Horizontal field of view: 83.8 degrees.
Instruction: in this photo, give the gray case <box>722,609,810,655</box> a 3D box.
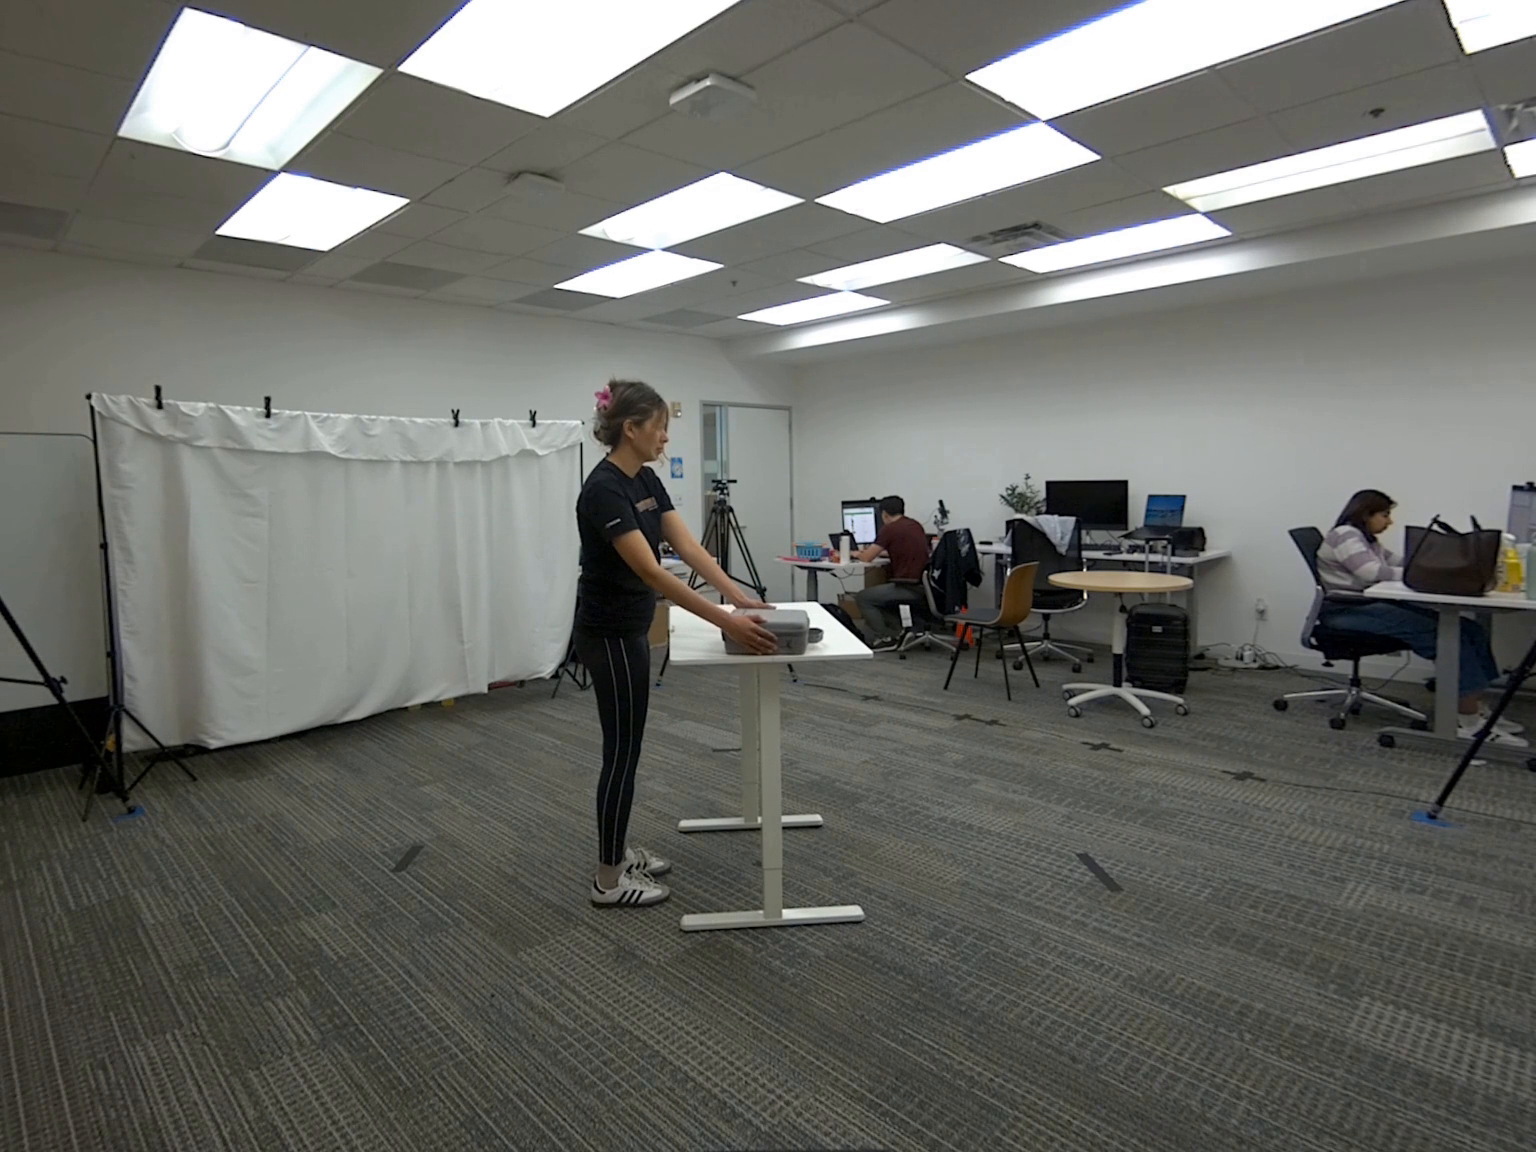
[{"bbox_3d":[0.001,0.168,2.643,0.262,0.104,0.257,0,6,5],"label":"gray case"}]
